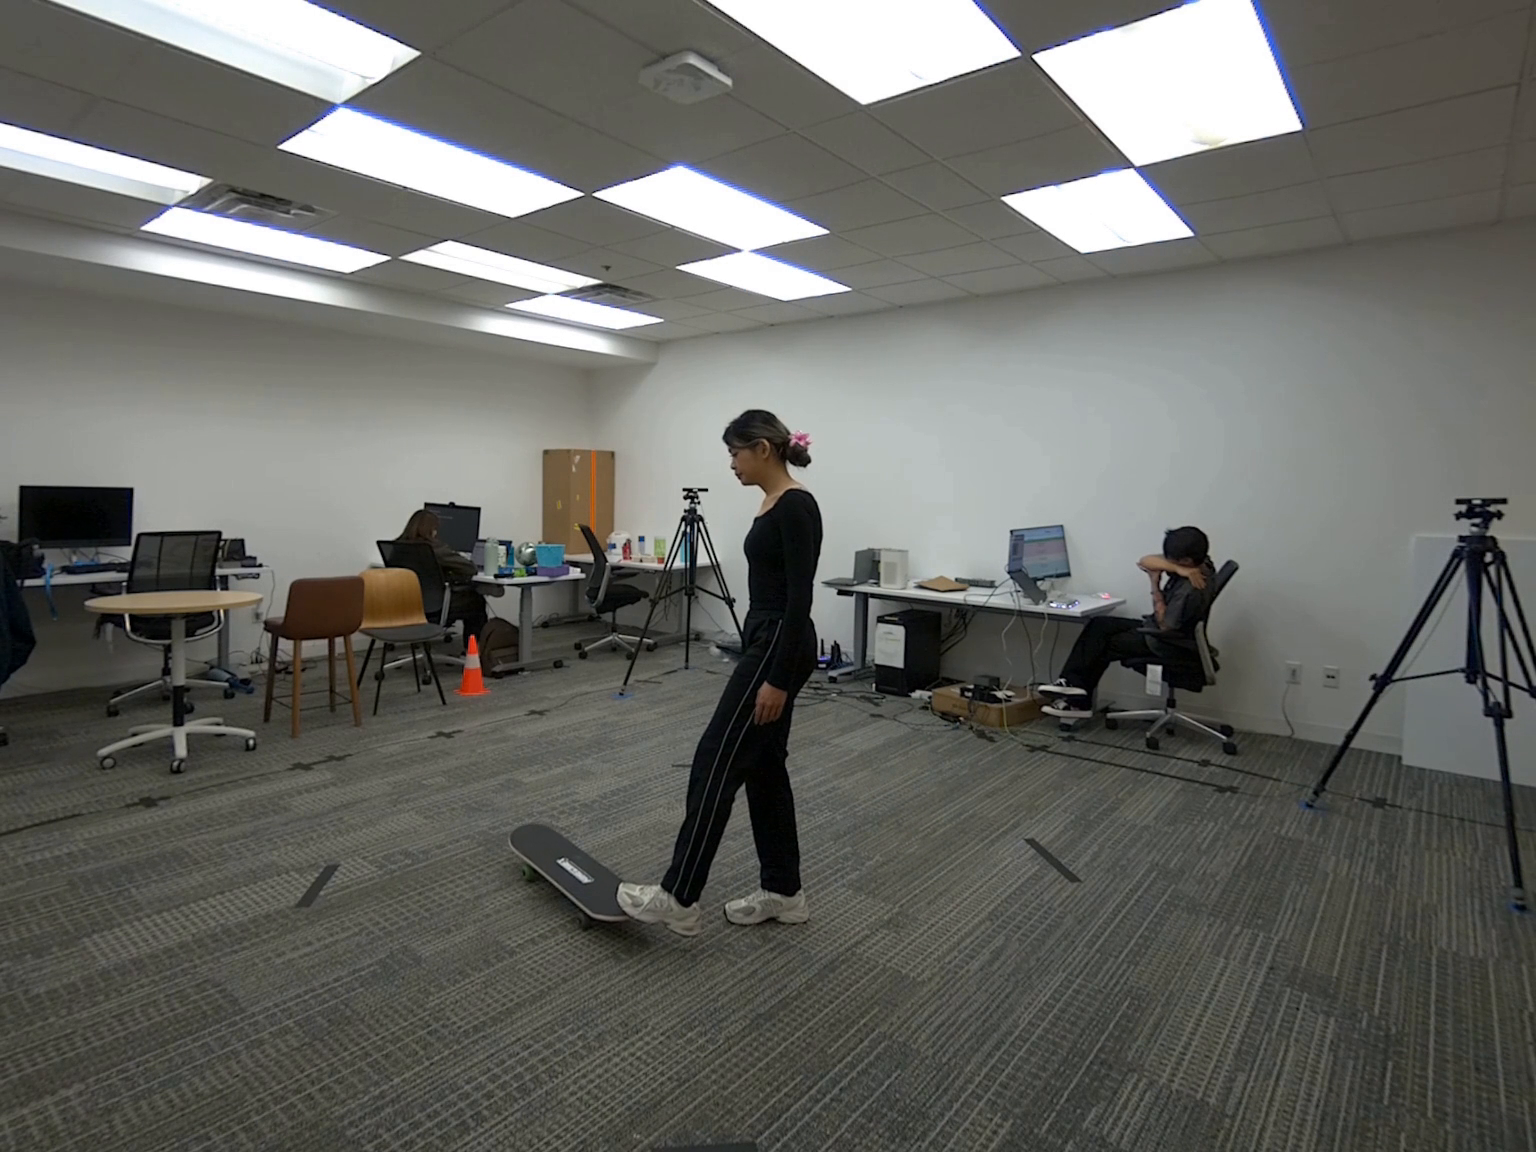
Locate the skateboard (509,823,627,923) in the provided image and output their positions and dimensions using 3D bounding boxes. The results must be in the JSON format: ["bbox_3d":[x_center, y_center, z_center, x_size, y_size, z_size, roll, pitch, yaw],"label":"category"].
[{"bbox_3d":[-0.668,1.023,2.871,0.188,0.110,0.813,-3,8,-39],"label":"skateboard"}]
